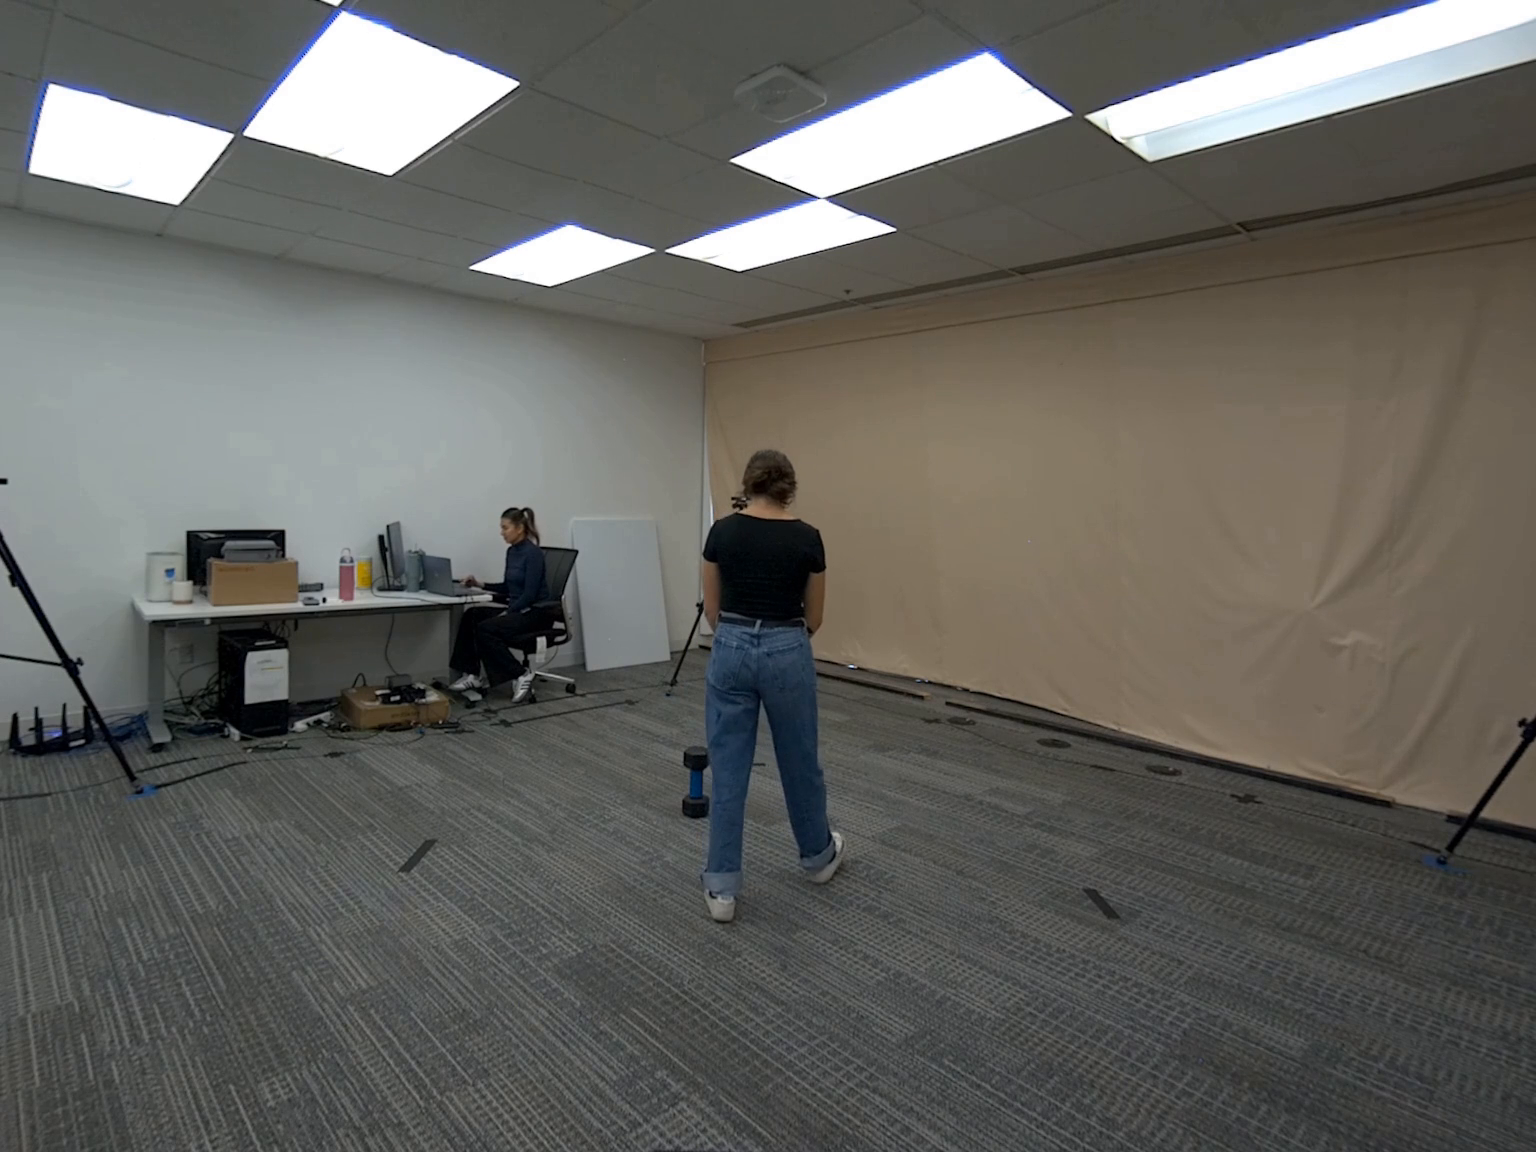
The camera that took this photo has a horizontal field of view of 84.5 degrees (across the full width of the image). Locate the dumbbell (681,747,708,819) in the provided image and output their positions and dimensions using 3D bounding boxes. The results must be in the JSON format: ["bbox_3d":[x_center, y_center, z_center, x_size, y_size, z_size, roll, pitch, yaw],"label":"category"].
[{"bbox_3d":[-0.325,0.908,3.701,0.121,0.293,0.110,1,3,-15],"label":"dumbbell"}]
